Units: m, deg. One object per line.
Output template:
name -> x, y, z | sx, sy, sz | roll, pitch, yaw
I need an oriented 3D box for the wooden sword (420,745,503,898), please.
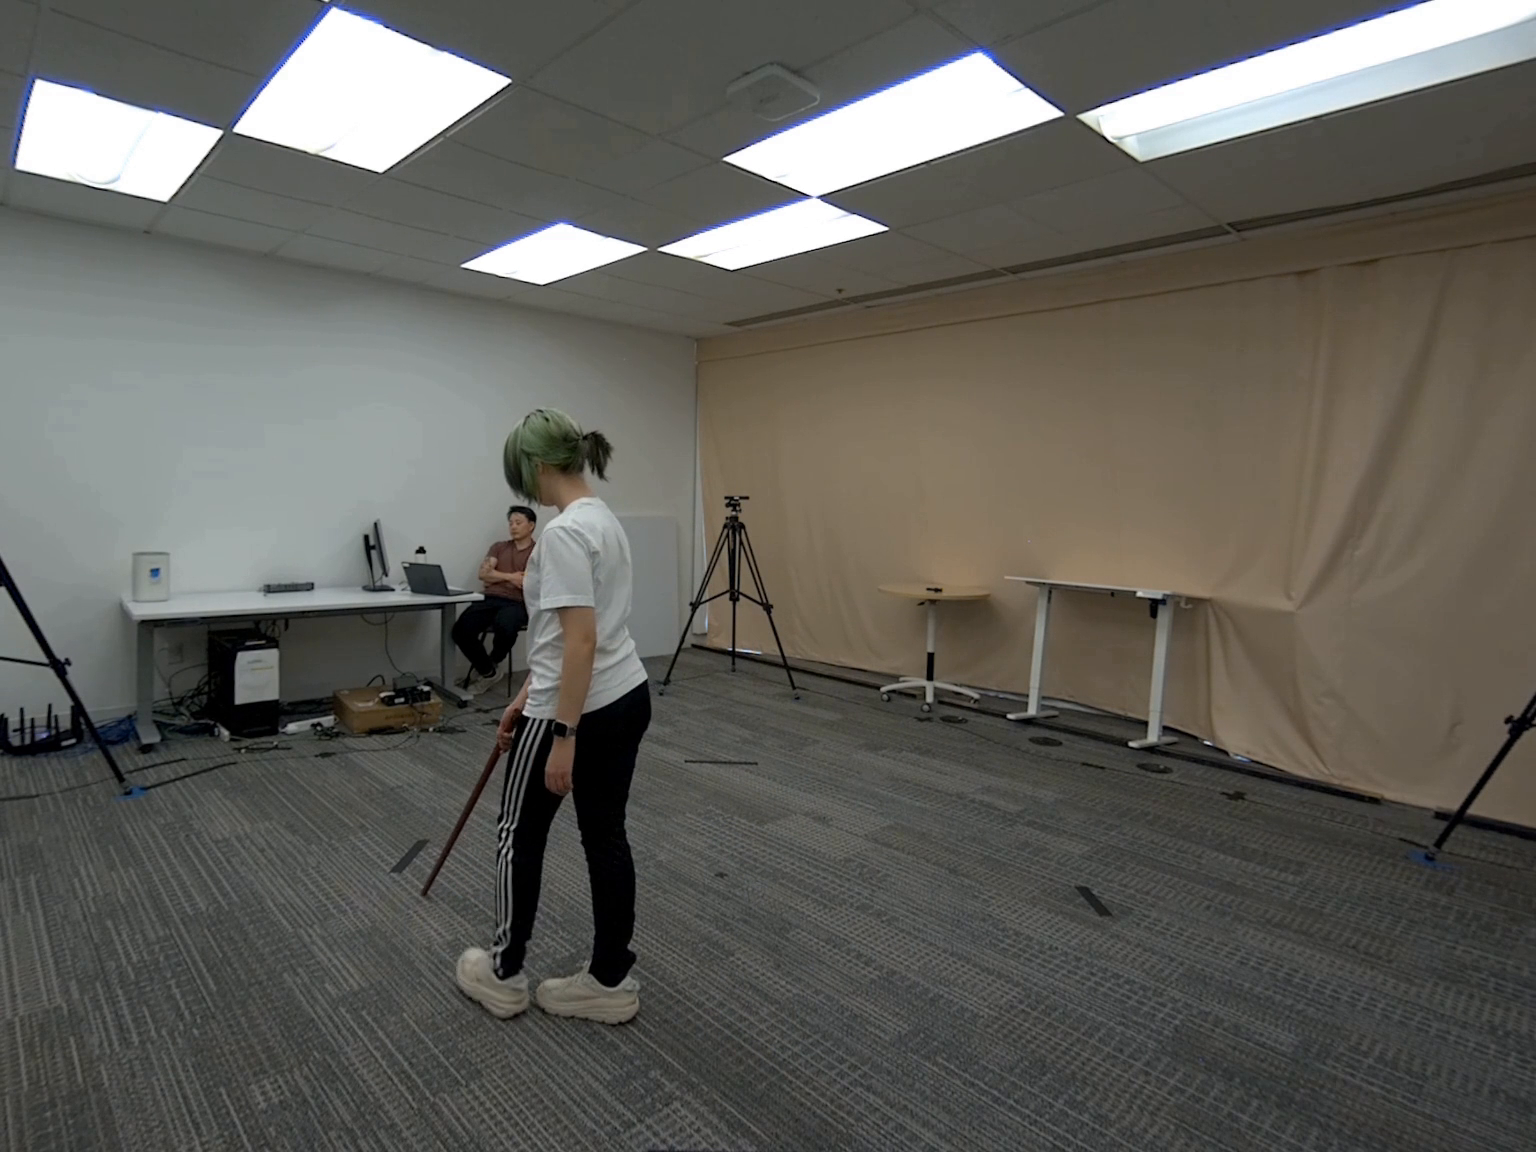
wooden sword -> -0.960, 0.762, 2.623 | 0.050, 1.020, 0.025 | 15, 40, -28
